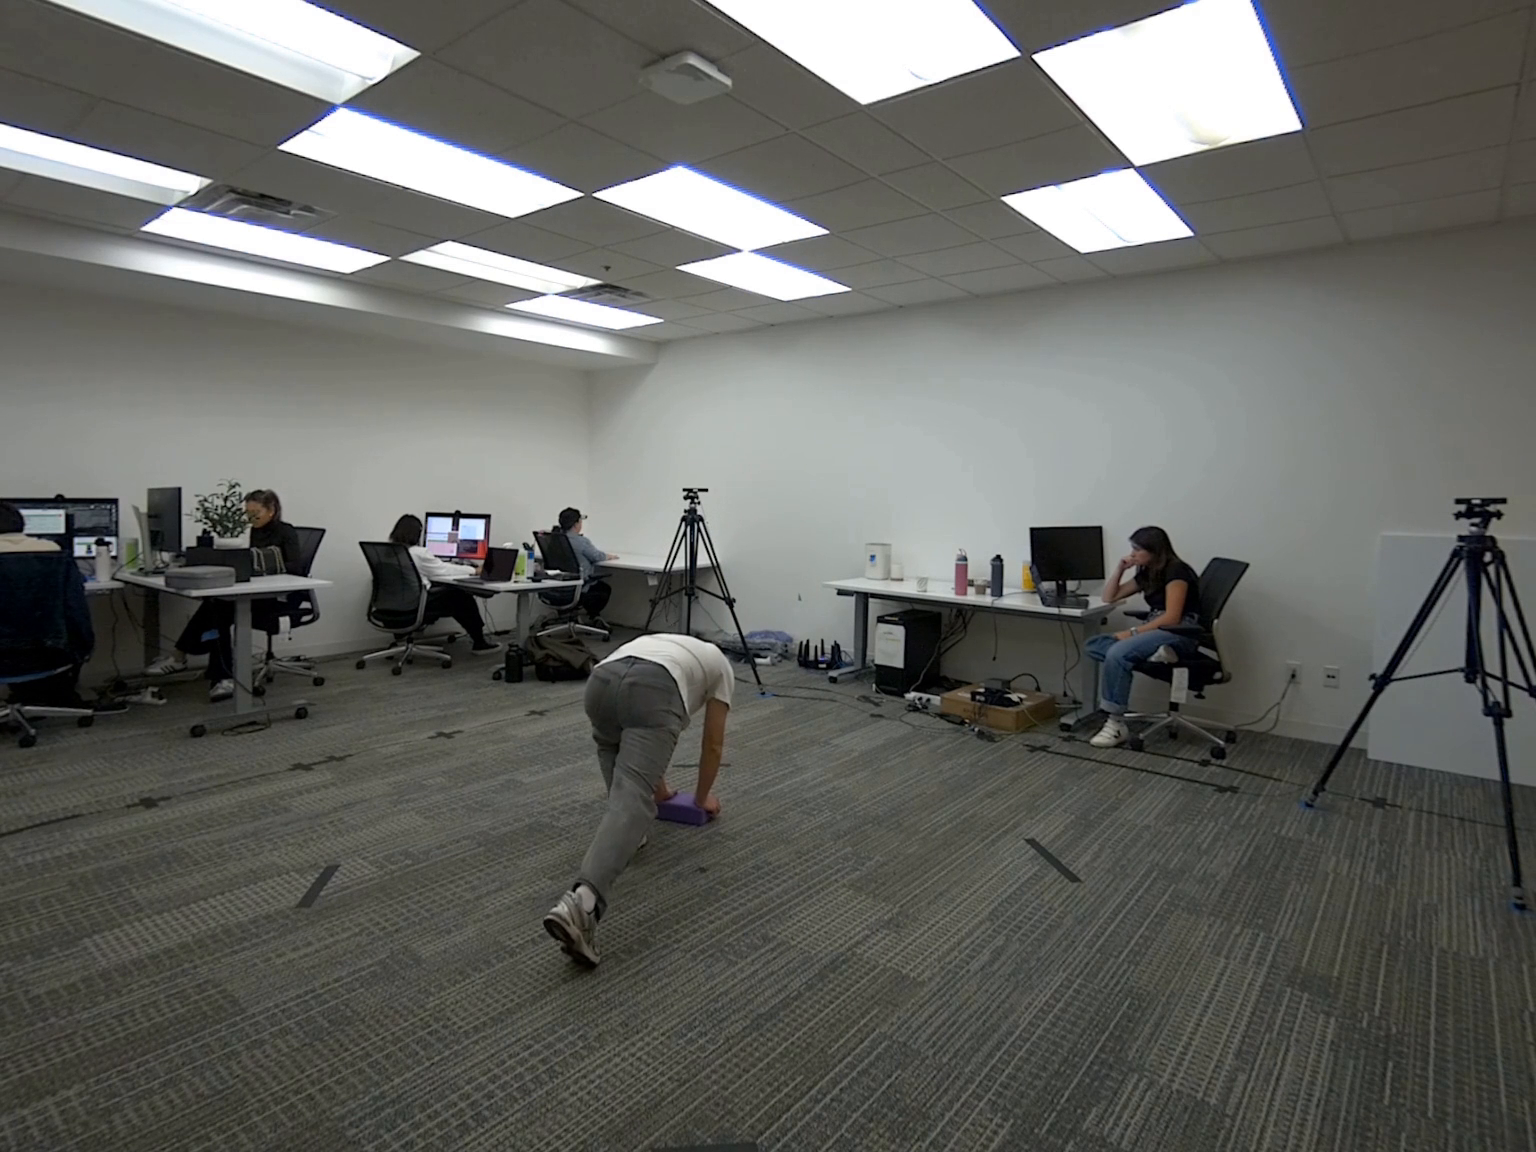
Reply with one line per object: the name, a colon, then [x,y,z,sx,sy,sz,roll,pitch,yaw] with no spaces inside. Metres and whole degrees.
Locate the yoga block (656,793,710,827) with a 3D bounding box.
yoga block: [-0.358,0.982,3.614,0.234,0.076,0.146,1,3,22]
